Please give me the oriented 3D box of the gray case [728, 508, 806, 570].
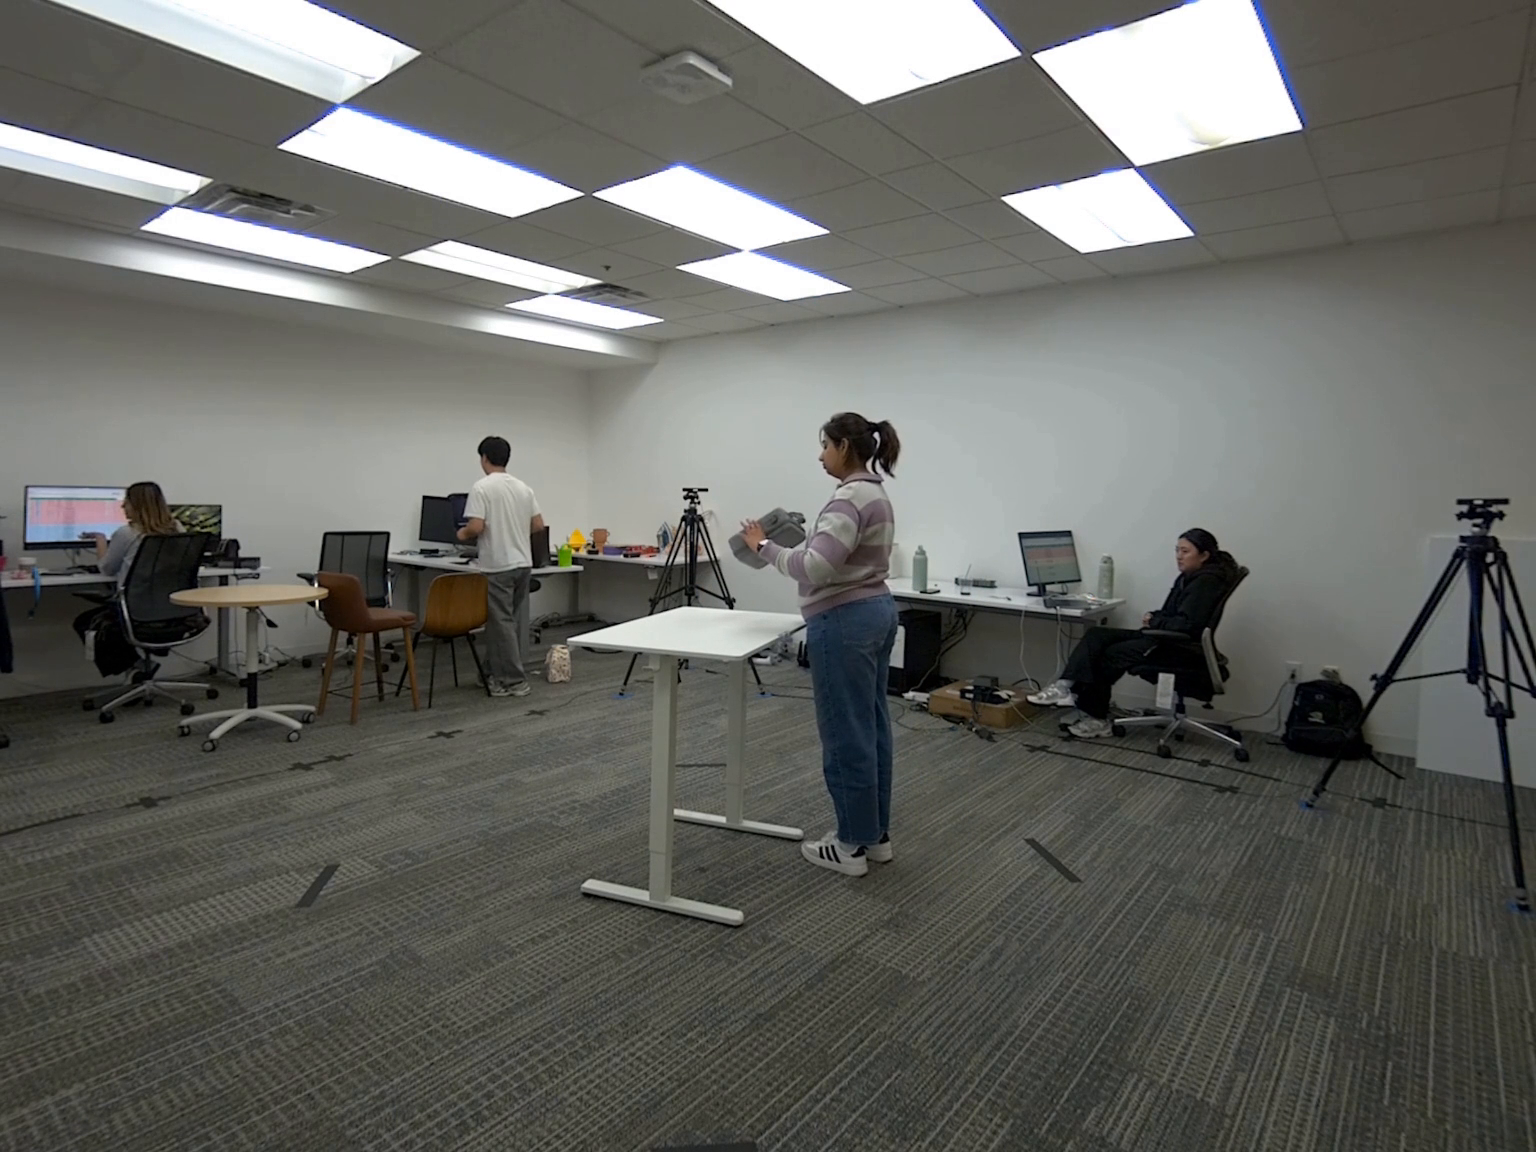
[{"bbox_3d":[-0.009,-0.143,3.289,0.262,0.107,0.249,-32,-21,12],"label":"gray case"}]
